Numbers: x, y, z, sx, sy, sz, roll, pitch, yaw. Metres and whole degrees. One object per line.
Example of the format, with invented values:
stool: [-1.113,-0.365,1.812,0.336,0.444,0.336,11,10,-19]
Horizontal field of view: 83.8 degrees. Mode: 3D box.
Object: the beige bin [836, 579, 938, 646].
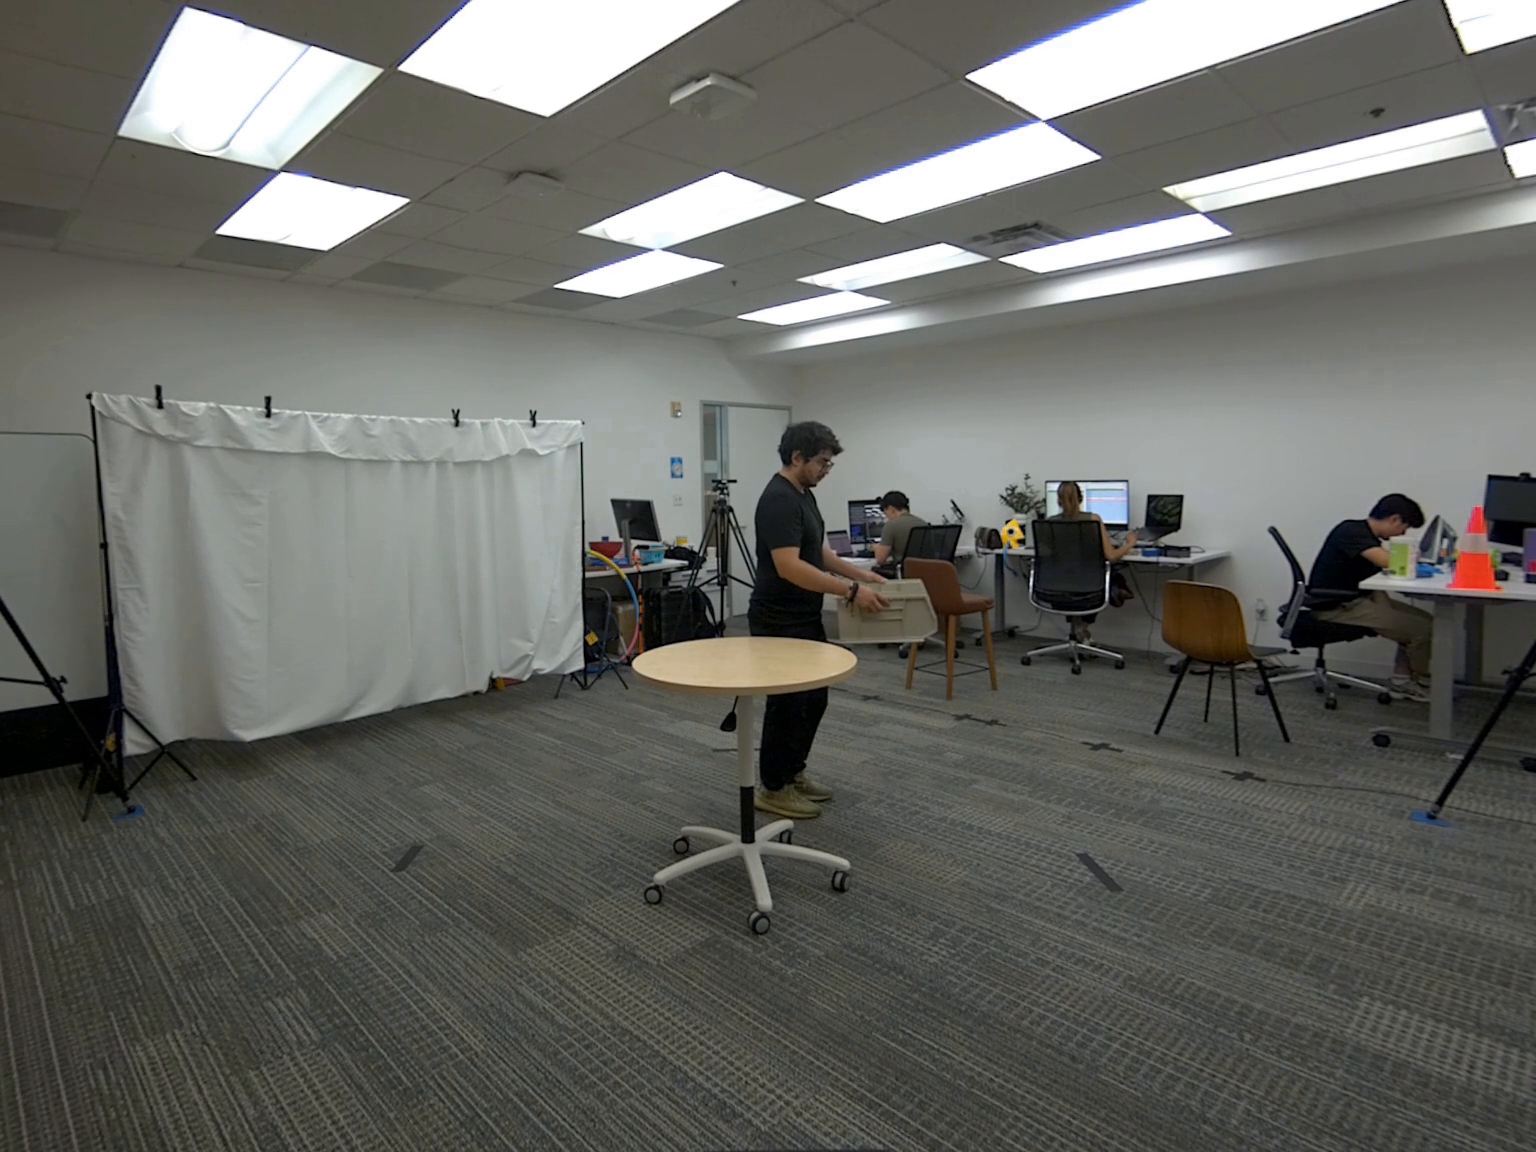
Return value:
beige bin: [0.472,0.134,3.414,0.381,0.188,0.420,-5,7,10]
